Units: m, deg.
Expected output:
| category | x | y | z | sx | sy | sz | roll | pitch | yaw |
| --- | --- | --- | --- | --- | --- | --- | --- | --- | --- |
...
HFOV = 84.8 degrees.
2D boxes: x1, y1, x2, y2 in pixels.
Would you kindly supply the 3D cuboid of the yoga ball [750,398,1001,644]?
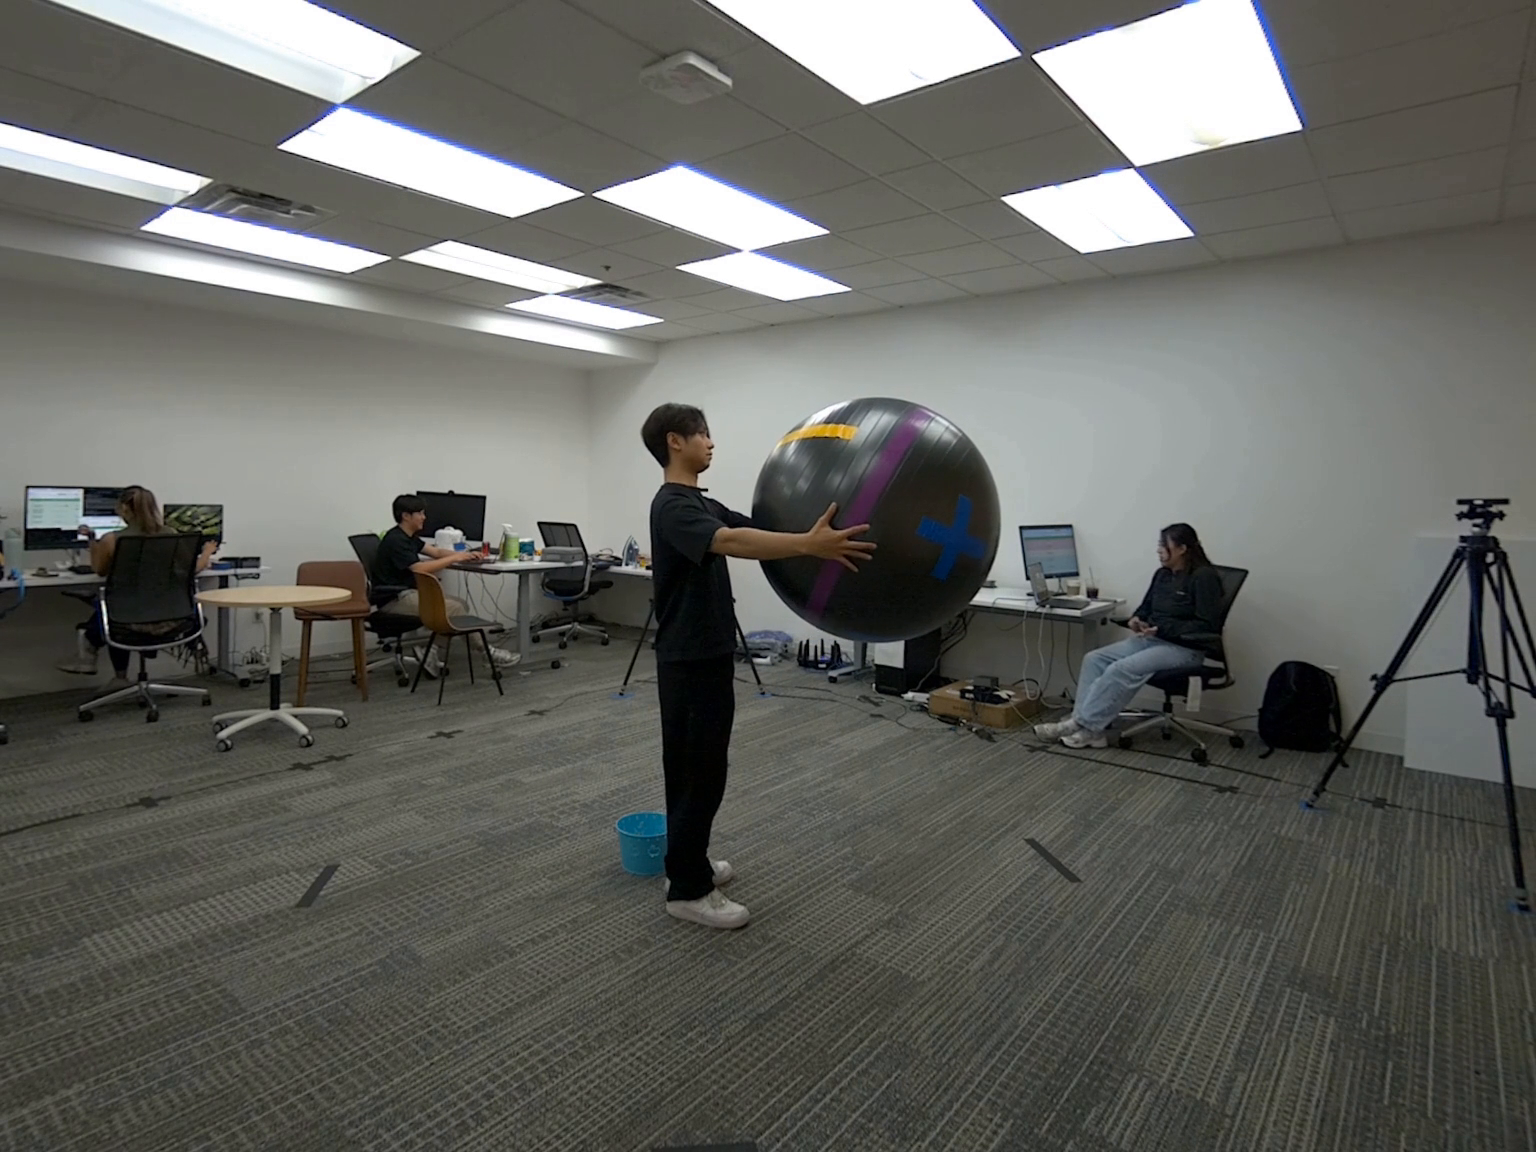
| category | x | y | z | sx | sy | sz | roll | pitch | yaw |
| --- | --- | --- | --- | --- | --- | --- | --- | --- | --- |
| yoga ball | 0.319 | -0.168 | 2.651 | 0.757 | 0.756 | 0.761 | 1 | 4 | -2 |
